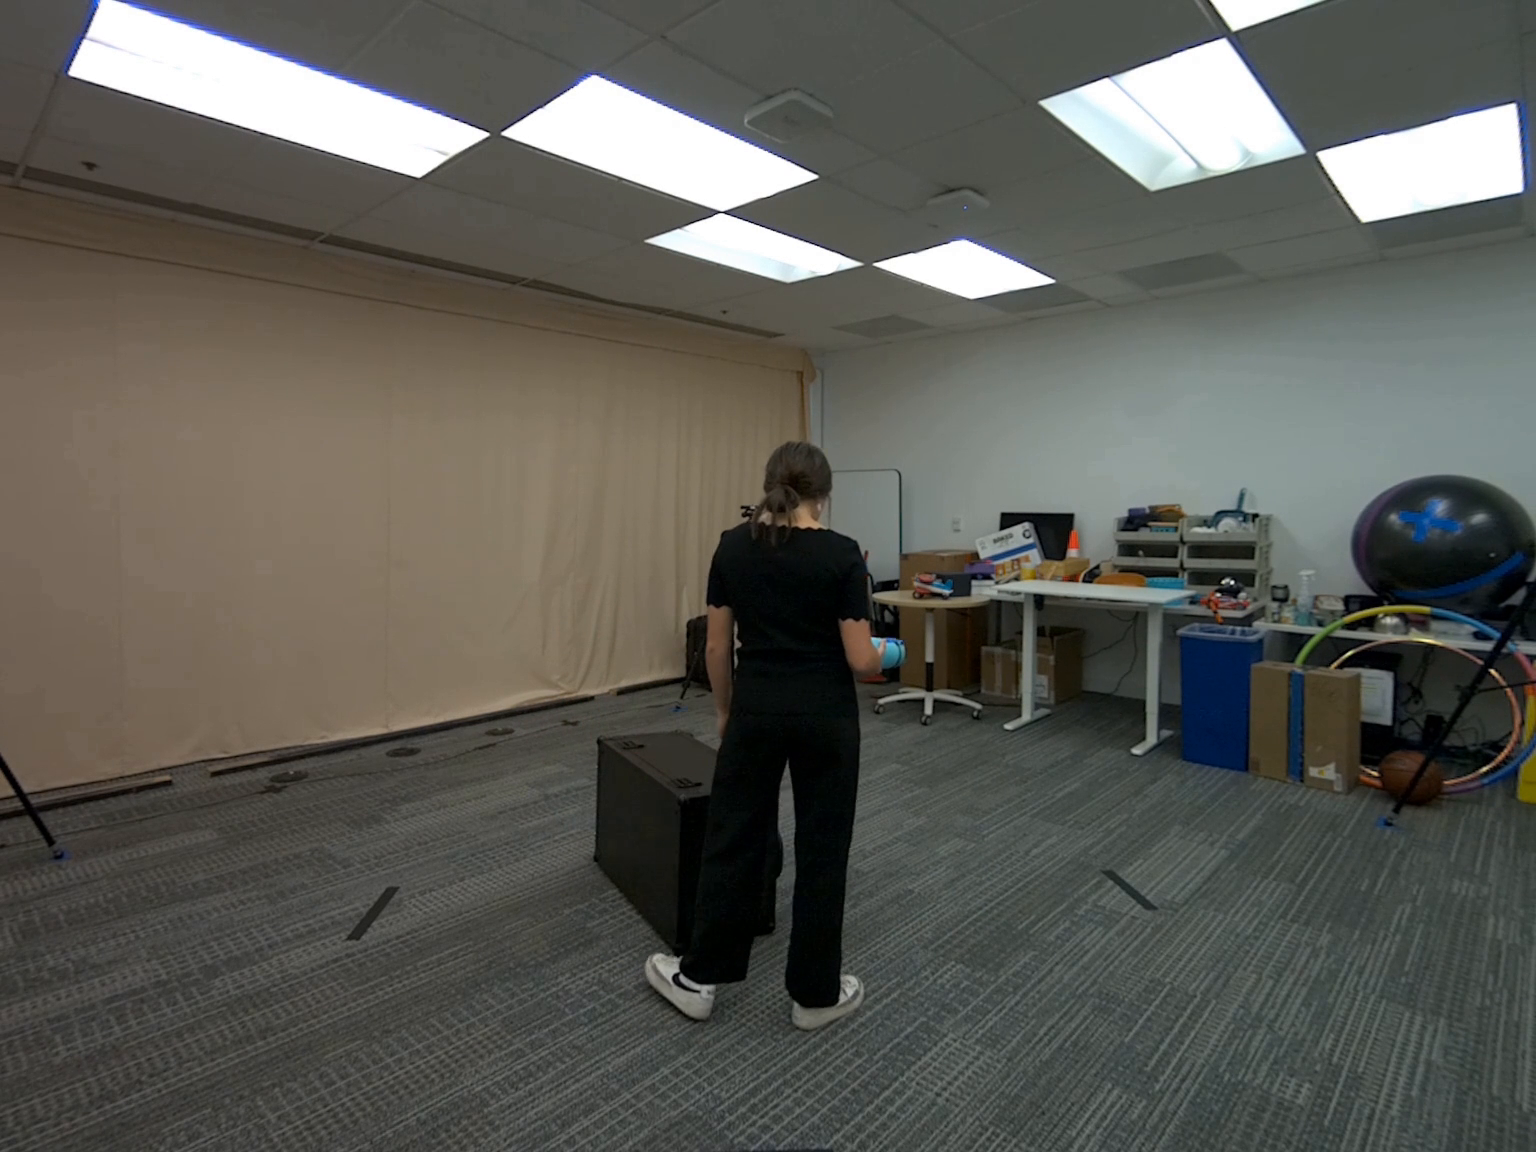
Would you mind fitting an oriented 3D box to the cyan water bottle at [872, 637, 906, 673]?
[{"bbox_3d":[0.299,0.223,2.474,0.274,0.092,0.095,5,0,-36],"label":"cyan water bottle"}]
